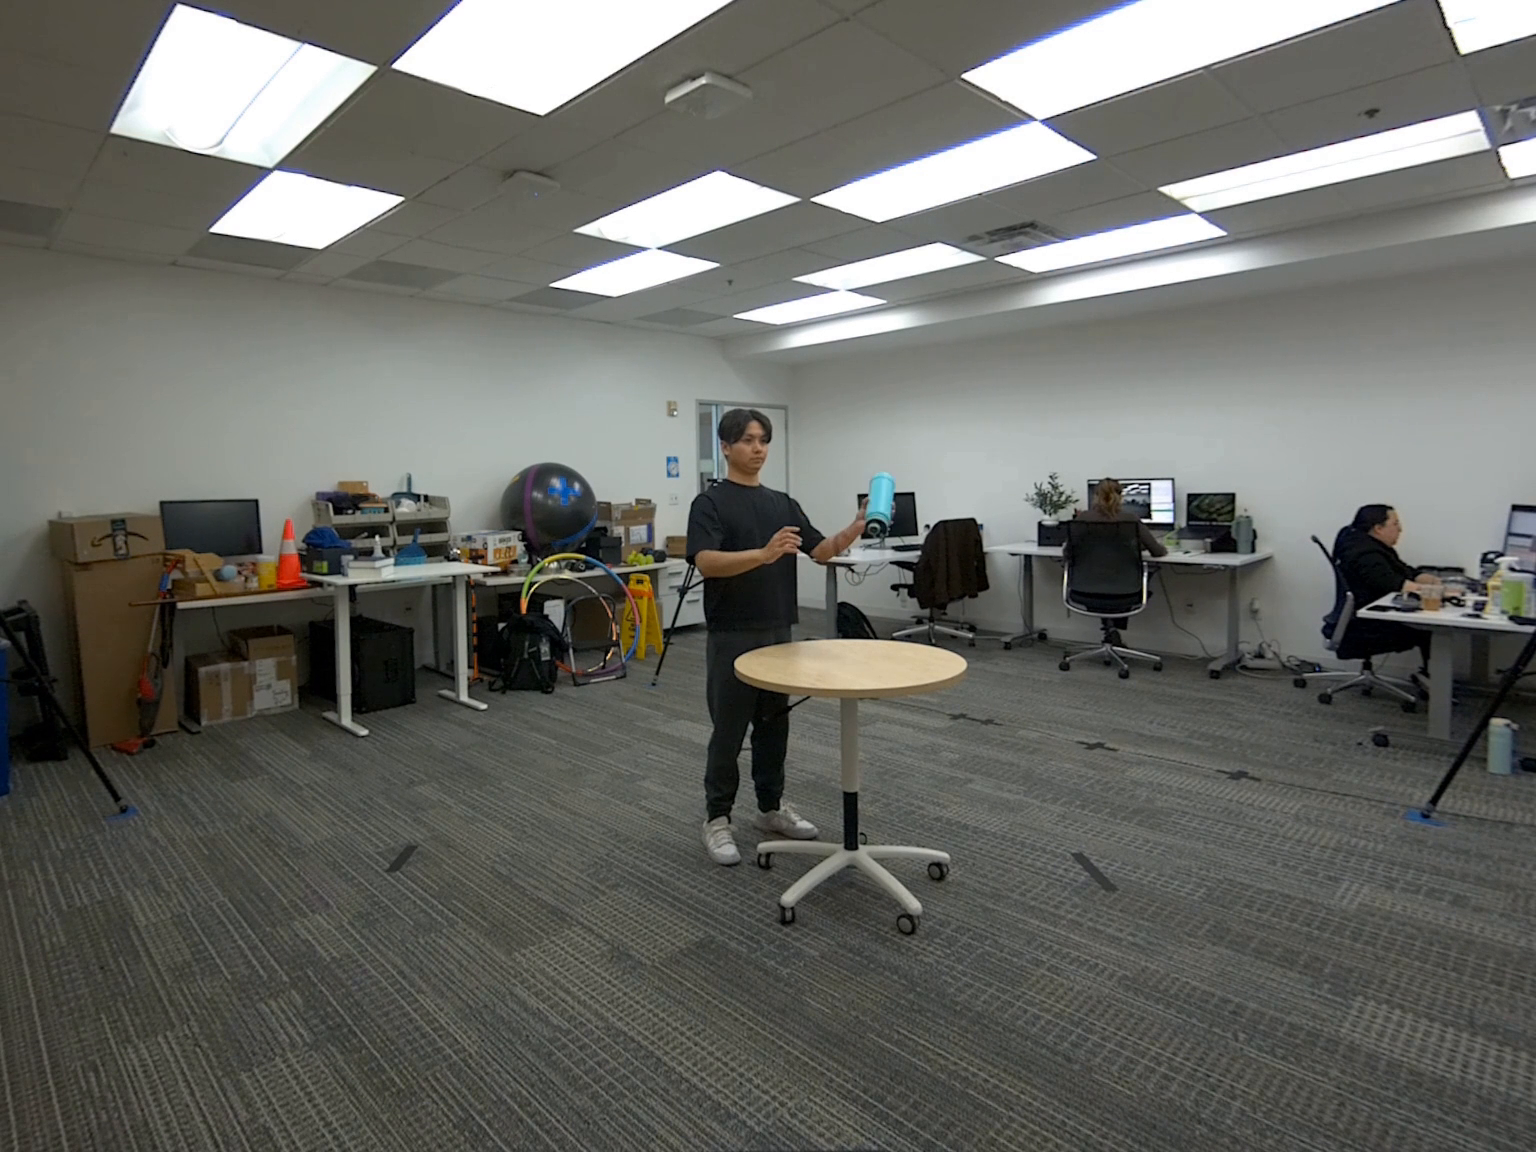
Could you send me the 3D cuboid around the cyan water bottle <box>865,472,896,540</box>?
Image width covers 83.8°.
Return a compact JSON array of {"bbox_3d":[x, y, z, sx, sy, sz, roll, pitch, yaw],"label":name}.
[{"bbox_3d":[0.388,-0.248,3.046,0.094,0.089,0.288,0,45,15],"label":"cyan water bottle"}]
